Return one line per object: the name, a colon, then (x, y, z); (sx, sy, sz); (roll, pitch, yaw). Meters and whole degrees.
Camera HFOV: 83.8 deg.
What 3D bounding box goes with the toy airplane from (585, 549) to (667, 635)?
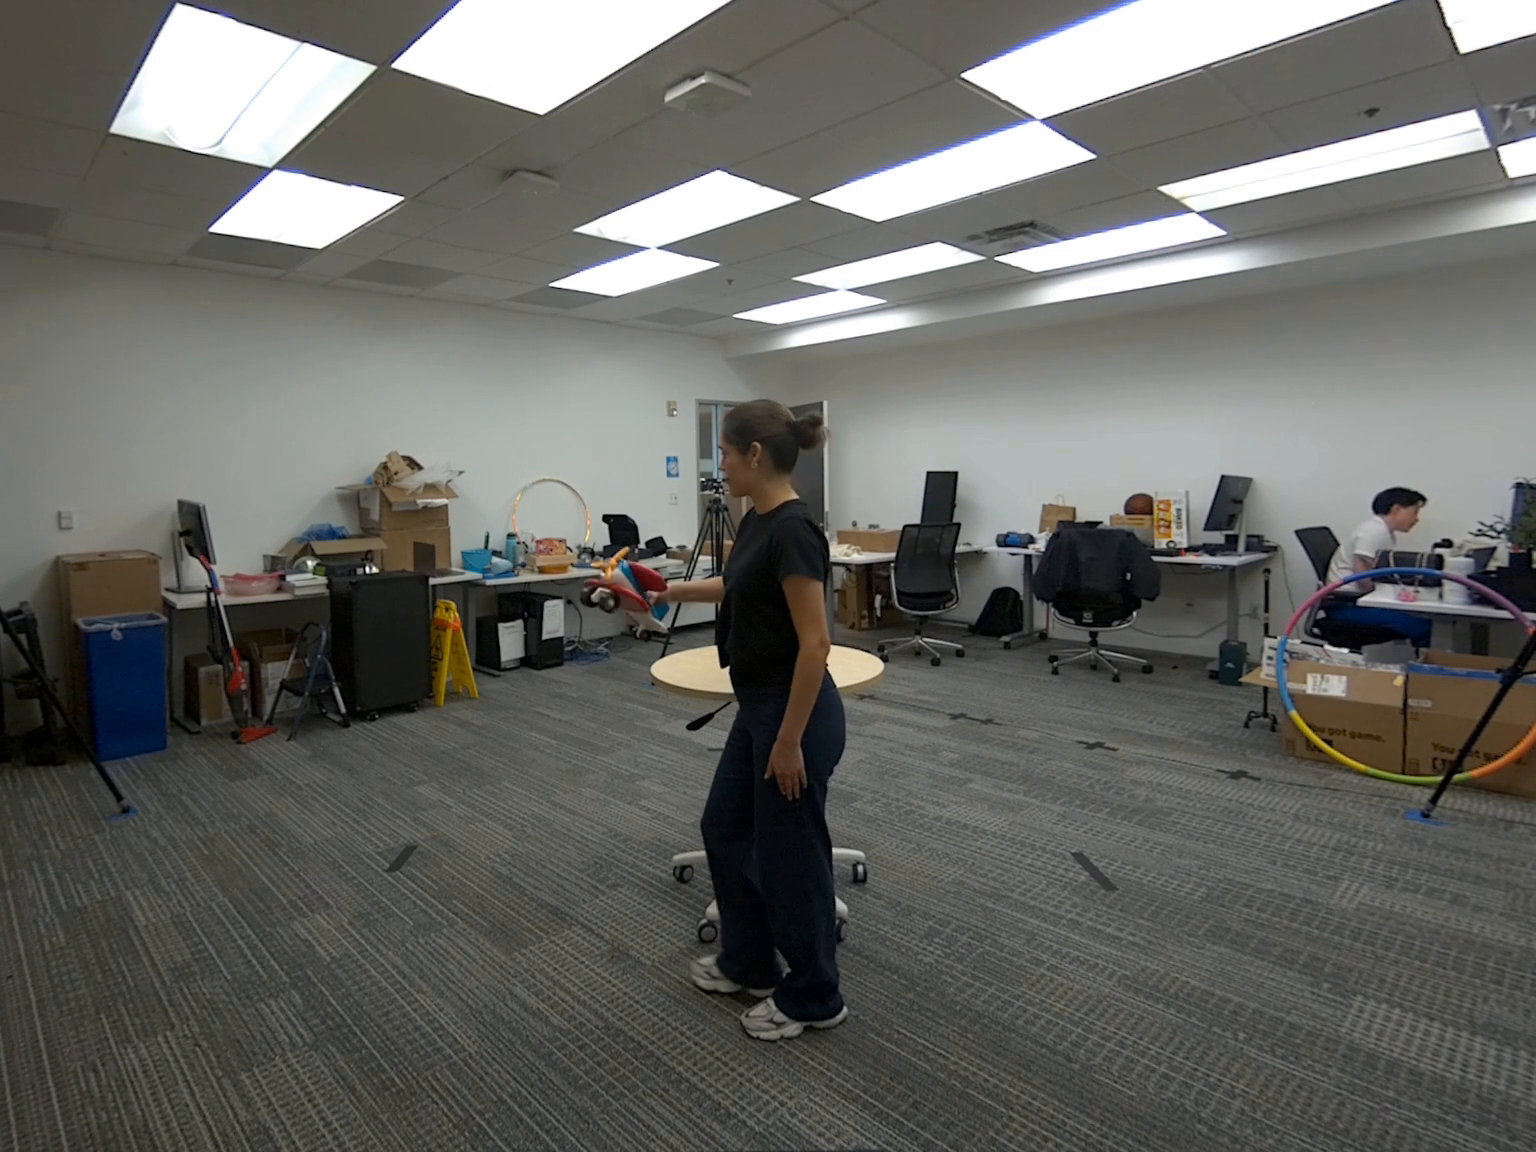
toy airplane: (-0.384, 0.043, 2.330); (0.257, 0.157, 0.251); (23, -17, 20)
